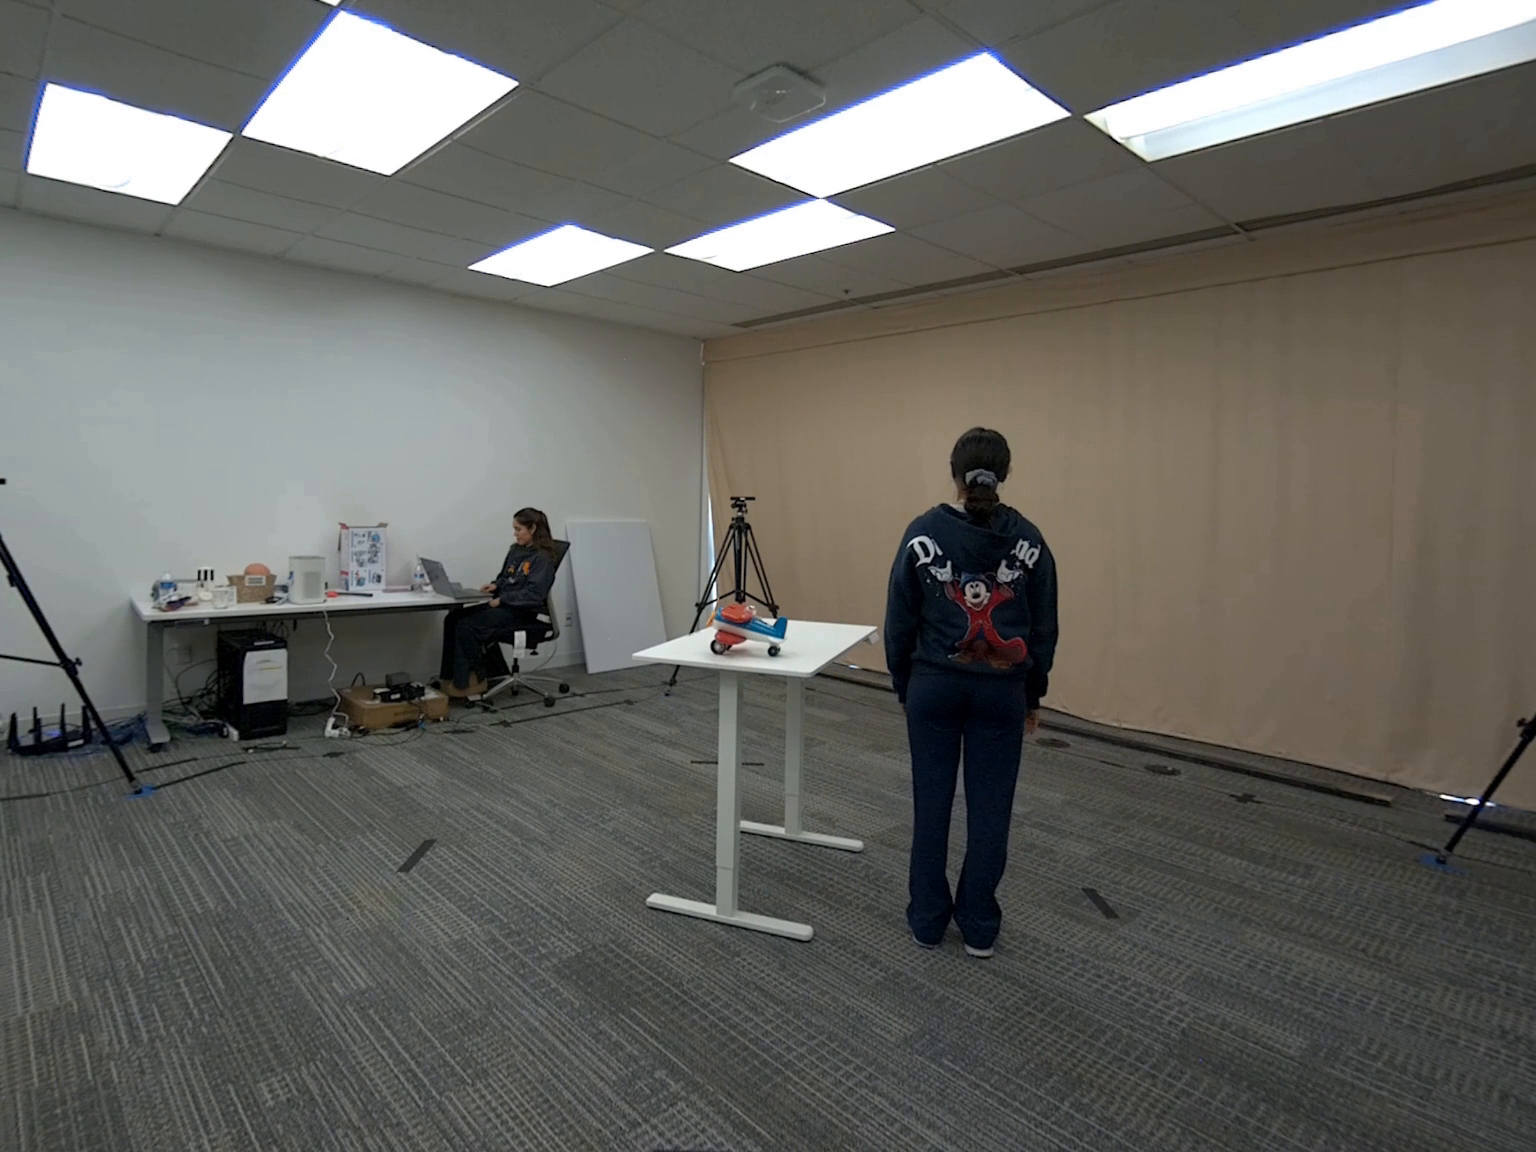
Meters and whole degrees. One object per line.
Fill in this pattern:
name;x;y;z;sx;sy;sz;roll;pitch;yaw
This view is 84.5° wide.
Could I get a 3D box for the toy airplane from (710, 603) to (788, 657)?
toy airplane;-0.065;0.181;2.801;0.256;0.156;0.254;0;4;-14
